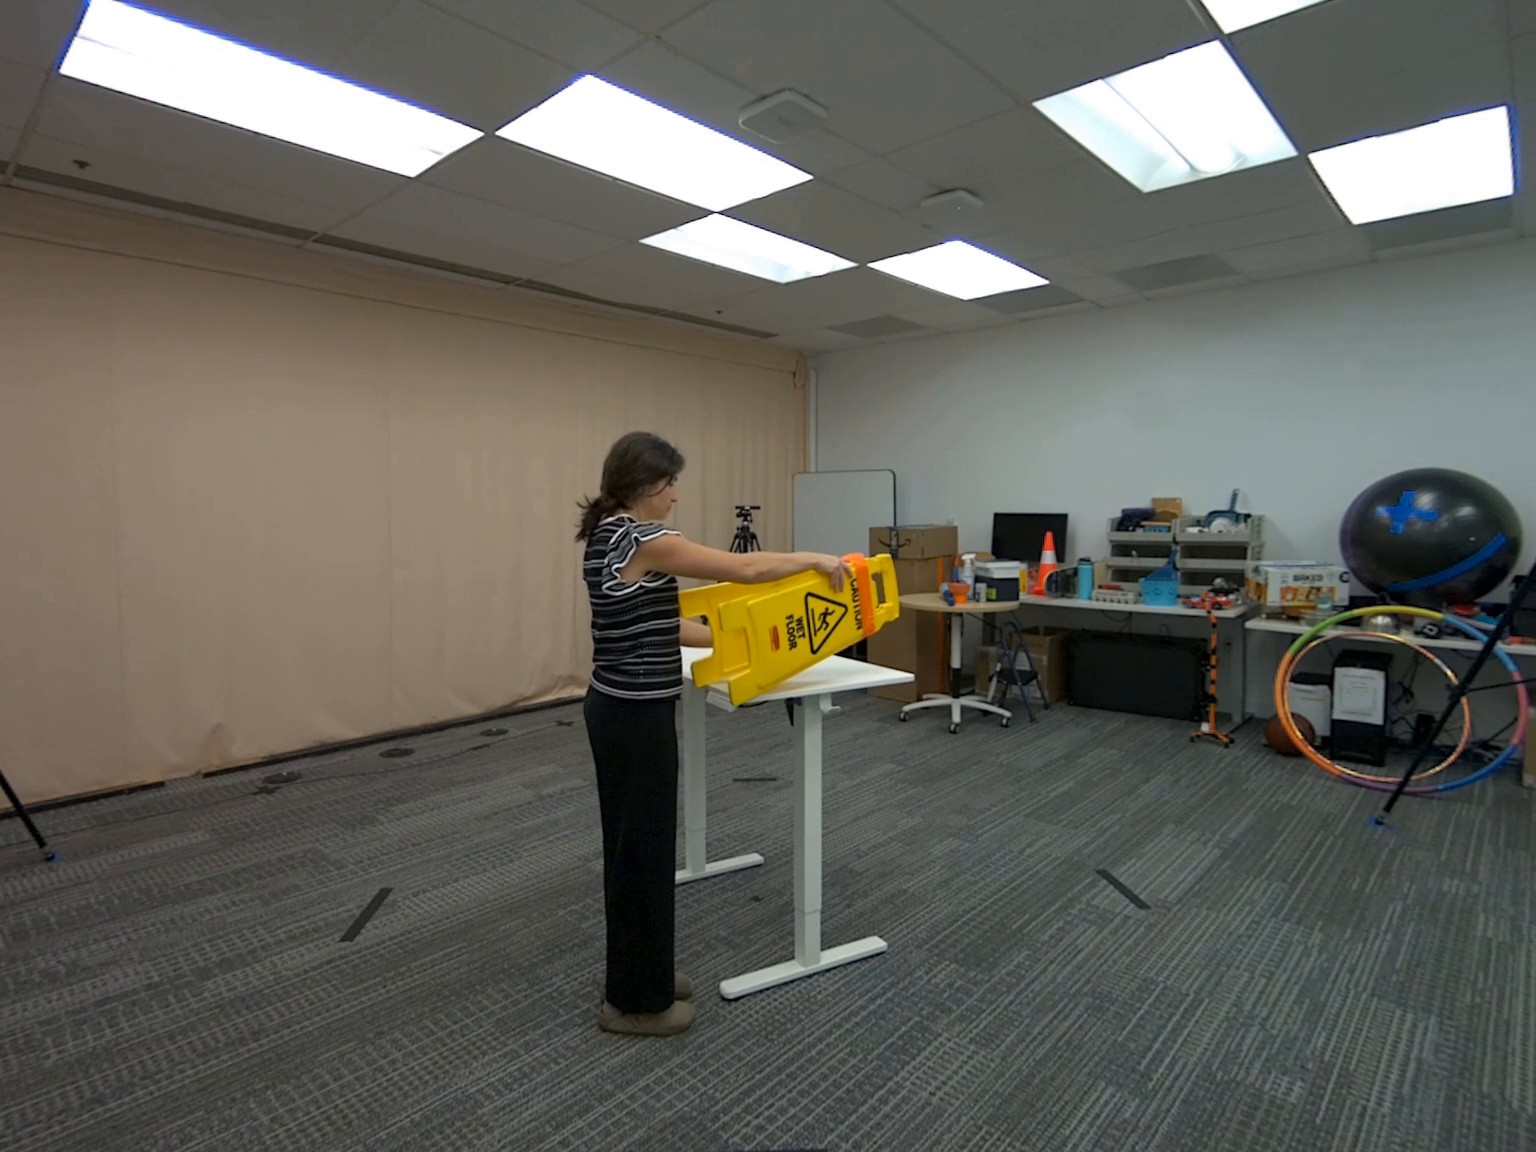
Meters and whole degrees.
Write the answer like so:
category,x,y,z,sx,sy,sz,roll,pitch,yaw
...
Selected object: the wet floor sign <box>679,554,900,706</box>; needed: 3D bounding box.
category,x,y,z,sx,sy,sz,roll,pitch,yaw
wet floor sign,0.111,0.105,2.368,0.633,0.280,0.298,-16,13,-26
